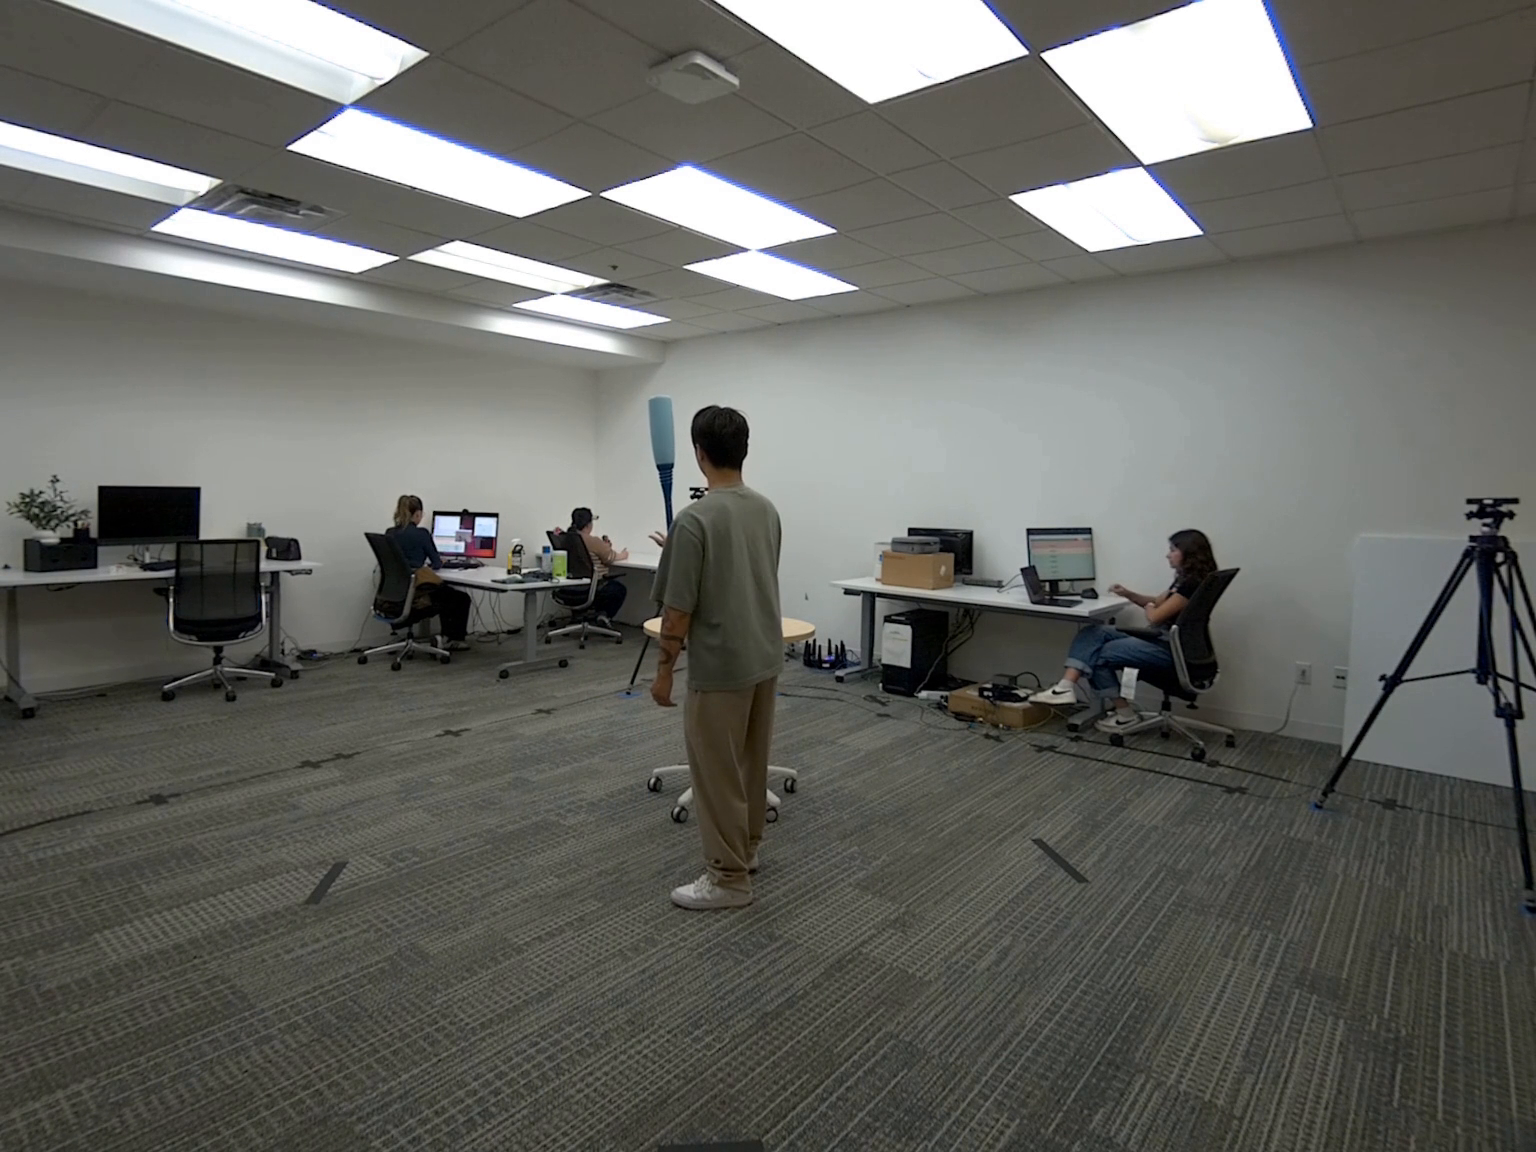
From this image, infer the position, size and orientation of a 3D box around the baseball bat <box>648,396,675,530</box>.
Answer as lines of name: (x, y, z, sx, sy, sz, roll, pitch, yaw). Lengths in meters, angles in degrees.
baseball bat: (-0.395, -0.390, 3.127, 0.089, 0.543, 0.089, -5, -1, -2)
